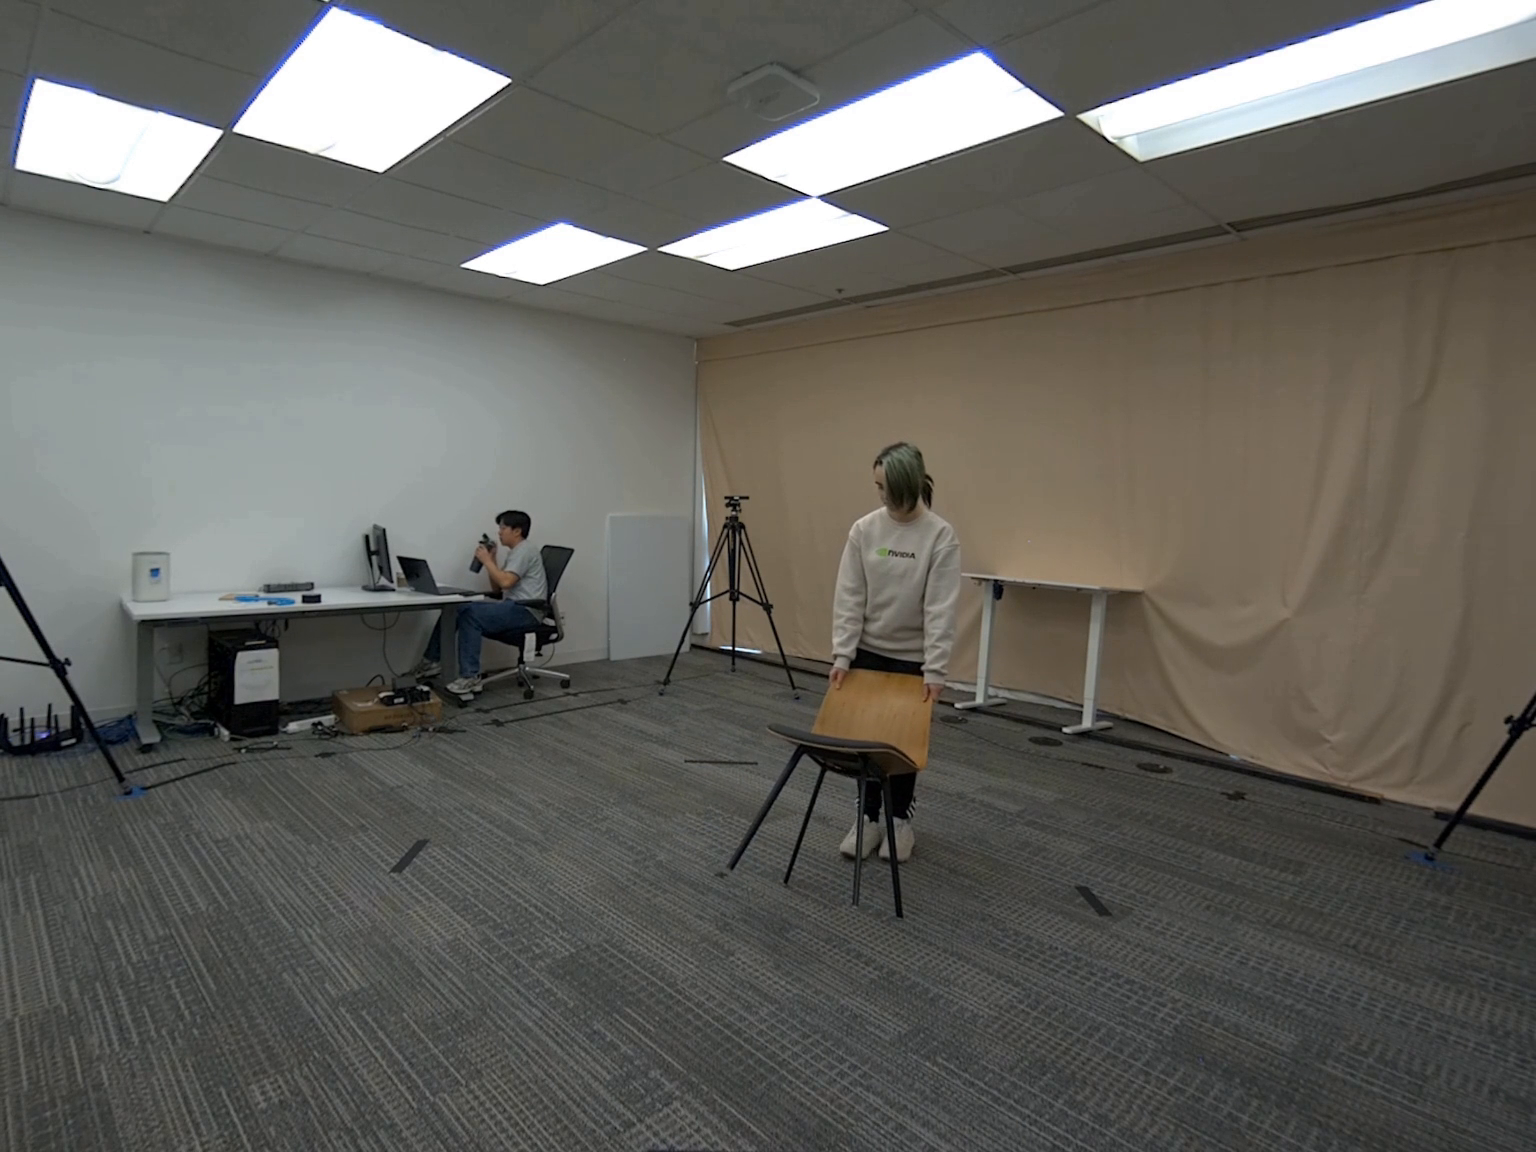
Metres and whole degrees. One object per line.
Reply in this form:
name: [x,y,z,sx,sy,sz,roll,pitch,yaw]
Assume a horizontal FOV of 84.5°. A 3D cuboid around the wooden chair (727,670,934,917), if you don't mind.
wooden chair: [0.251,0.647,2.879,0.489,0.886,0.506,3,-26,31]
